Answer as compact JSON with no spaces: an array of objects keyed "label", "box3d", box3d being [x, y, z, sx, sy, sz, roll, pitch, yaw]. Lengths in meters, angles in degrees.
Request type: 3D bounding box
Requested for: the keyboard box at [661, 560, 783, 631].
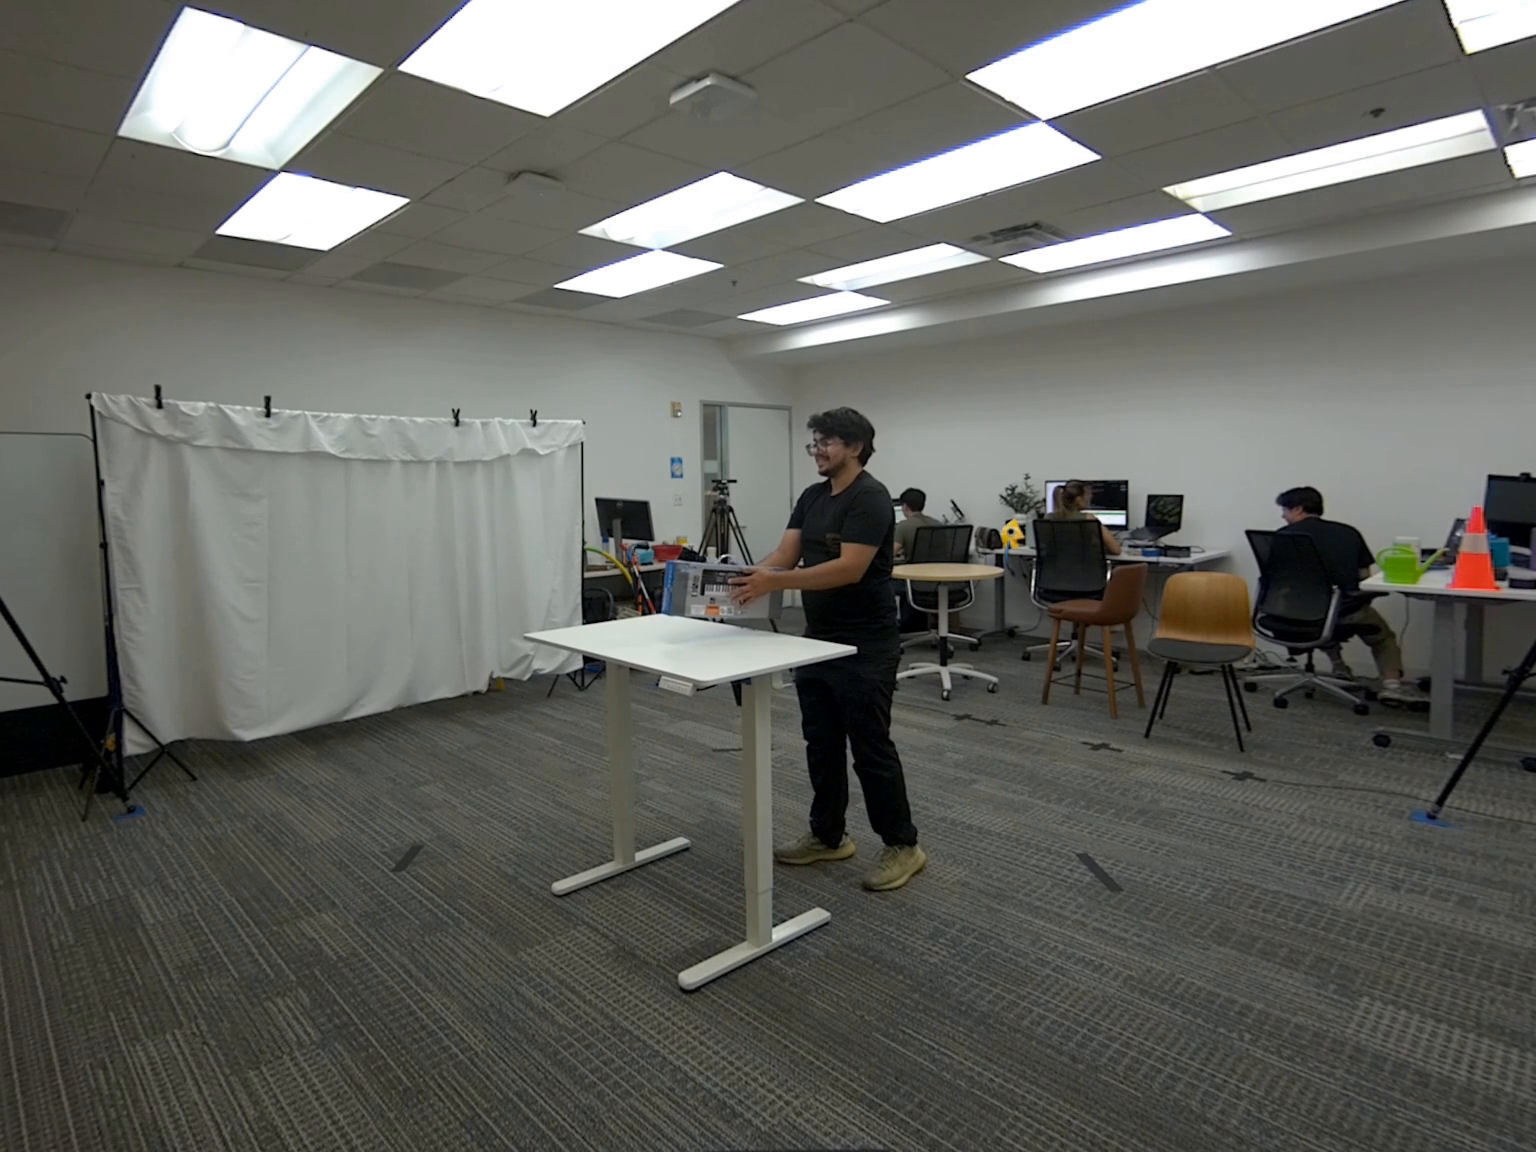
[{"label":"keyboard box","box3d":[-0.143,0.052,2.815,0.424,0.176,0.061,5,2,-33]}]
